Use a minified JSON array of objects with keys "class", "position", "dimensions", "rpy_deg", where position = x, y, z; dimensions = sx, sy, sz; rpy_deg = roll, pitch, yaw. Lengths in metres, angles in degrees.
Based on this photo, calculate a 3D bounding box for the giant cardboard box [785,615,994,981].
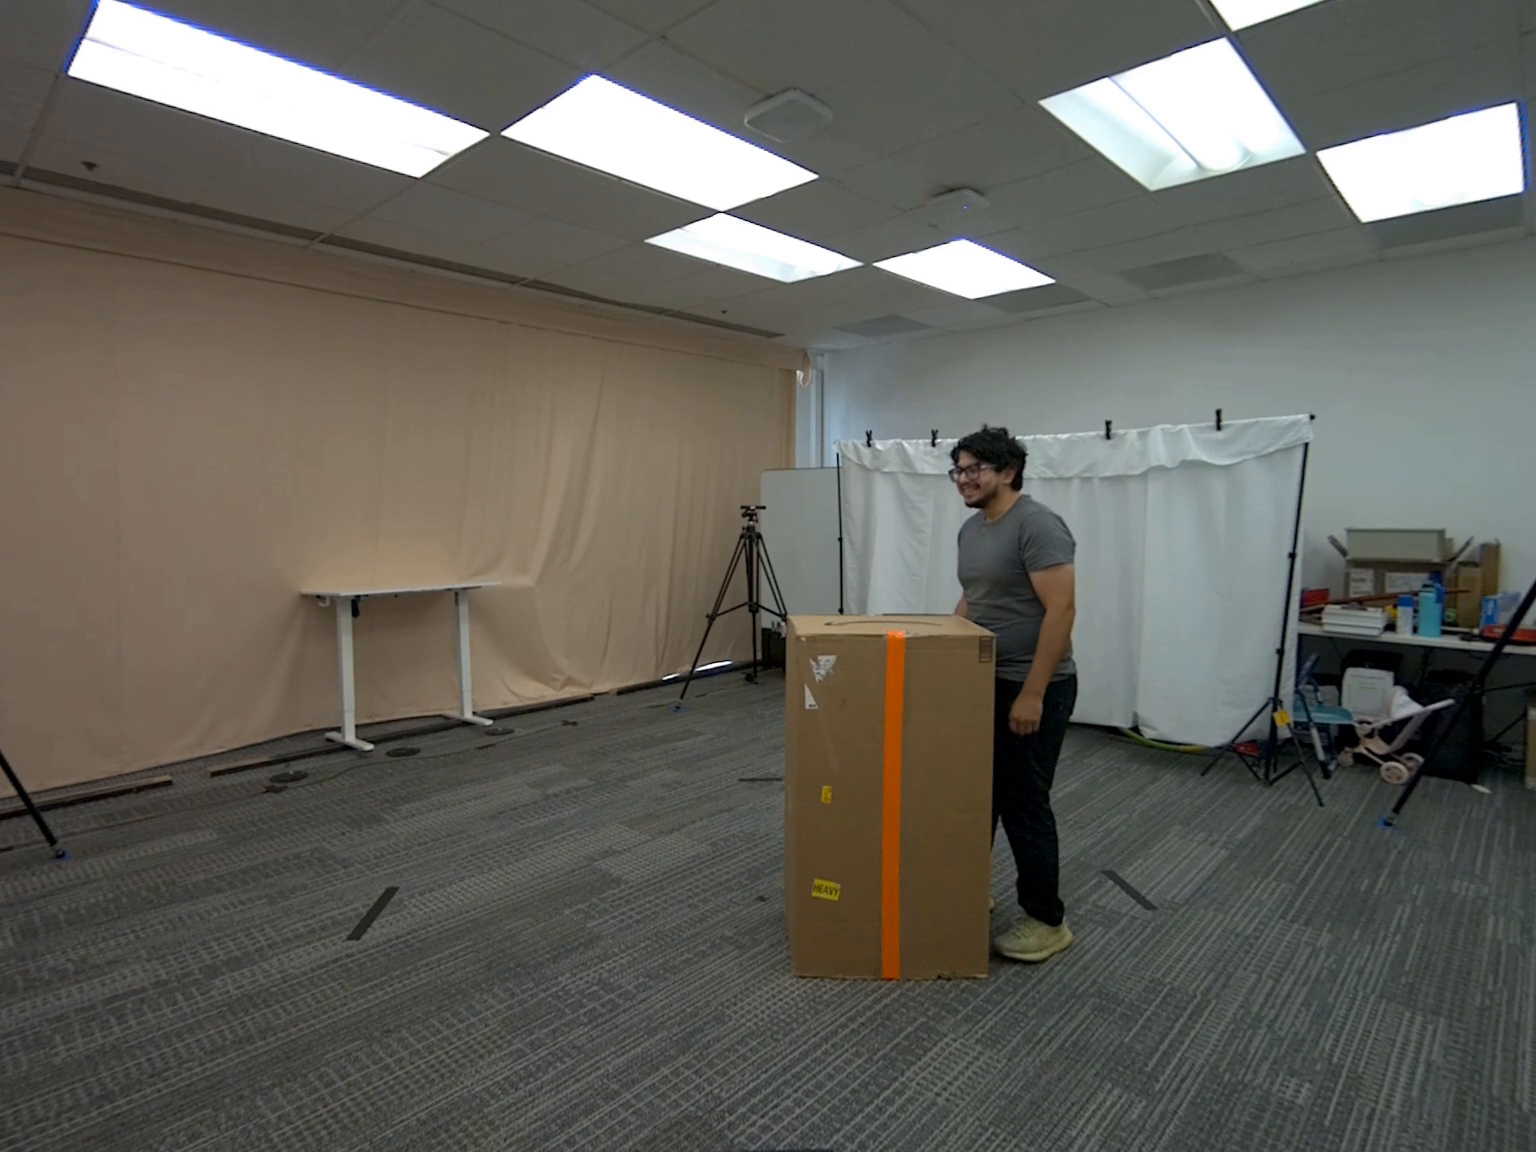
[{"class":"giant cardboard box","position":[0.356,0.669,2.655],"dimensions":[0.584,1.025,0.447],"rpy_deg":[0,3,0]}]
